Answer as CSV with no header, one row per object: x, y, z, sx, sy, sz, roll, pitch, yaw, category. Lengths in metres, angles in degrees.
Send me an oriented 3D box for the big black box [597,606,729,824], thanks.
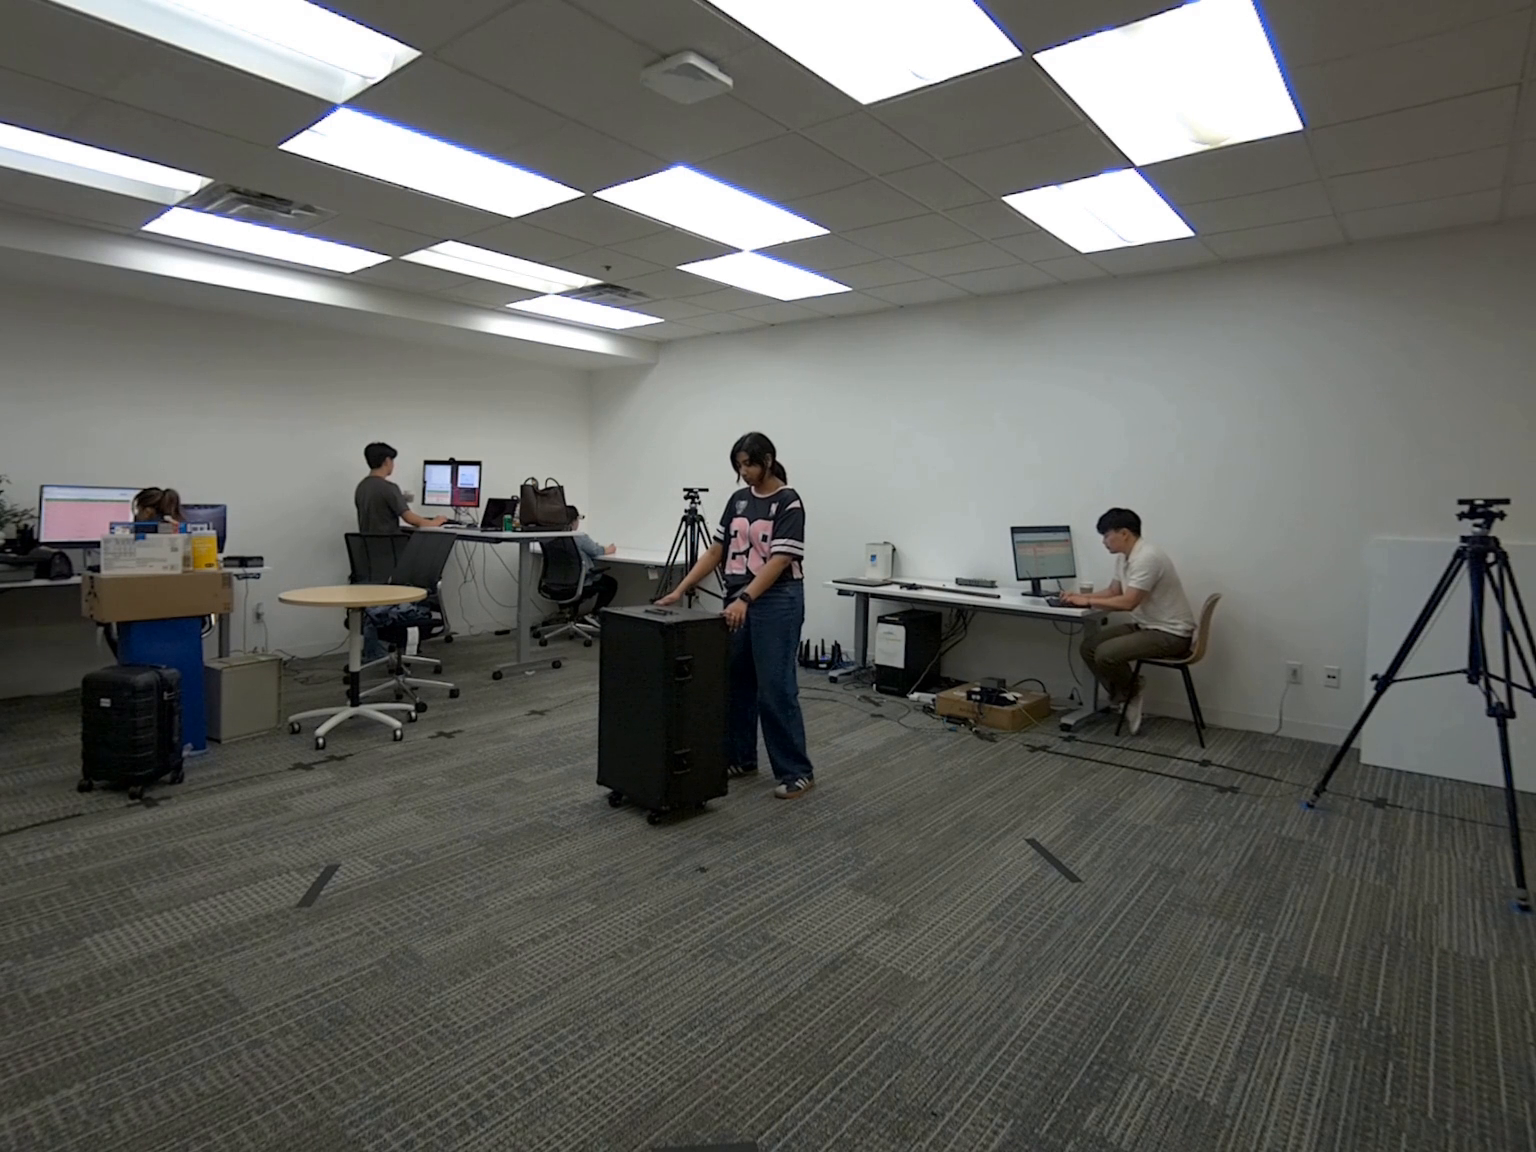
-0.481,0.584,3.725,0.373,0.867,0.541,0,3,-45,big black box
